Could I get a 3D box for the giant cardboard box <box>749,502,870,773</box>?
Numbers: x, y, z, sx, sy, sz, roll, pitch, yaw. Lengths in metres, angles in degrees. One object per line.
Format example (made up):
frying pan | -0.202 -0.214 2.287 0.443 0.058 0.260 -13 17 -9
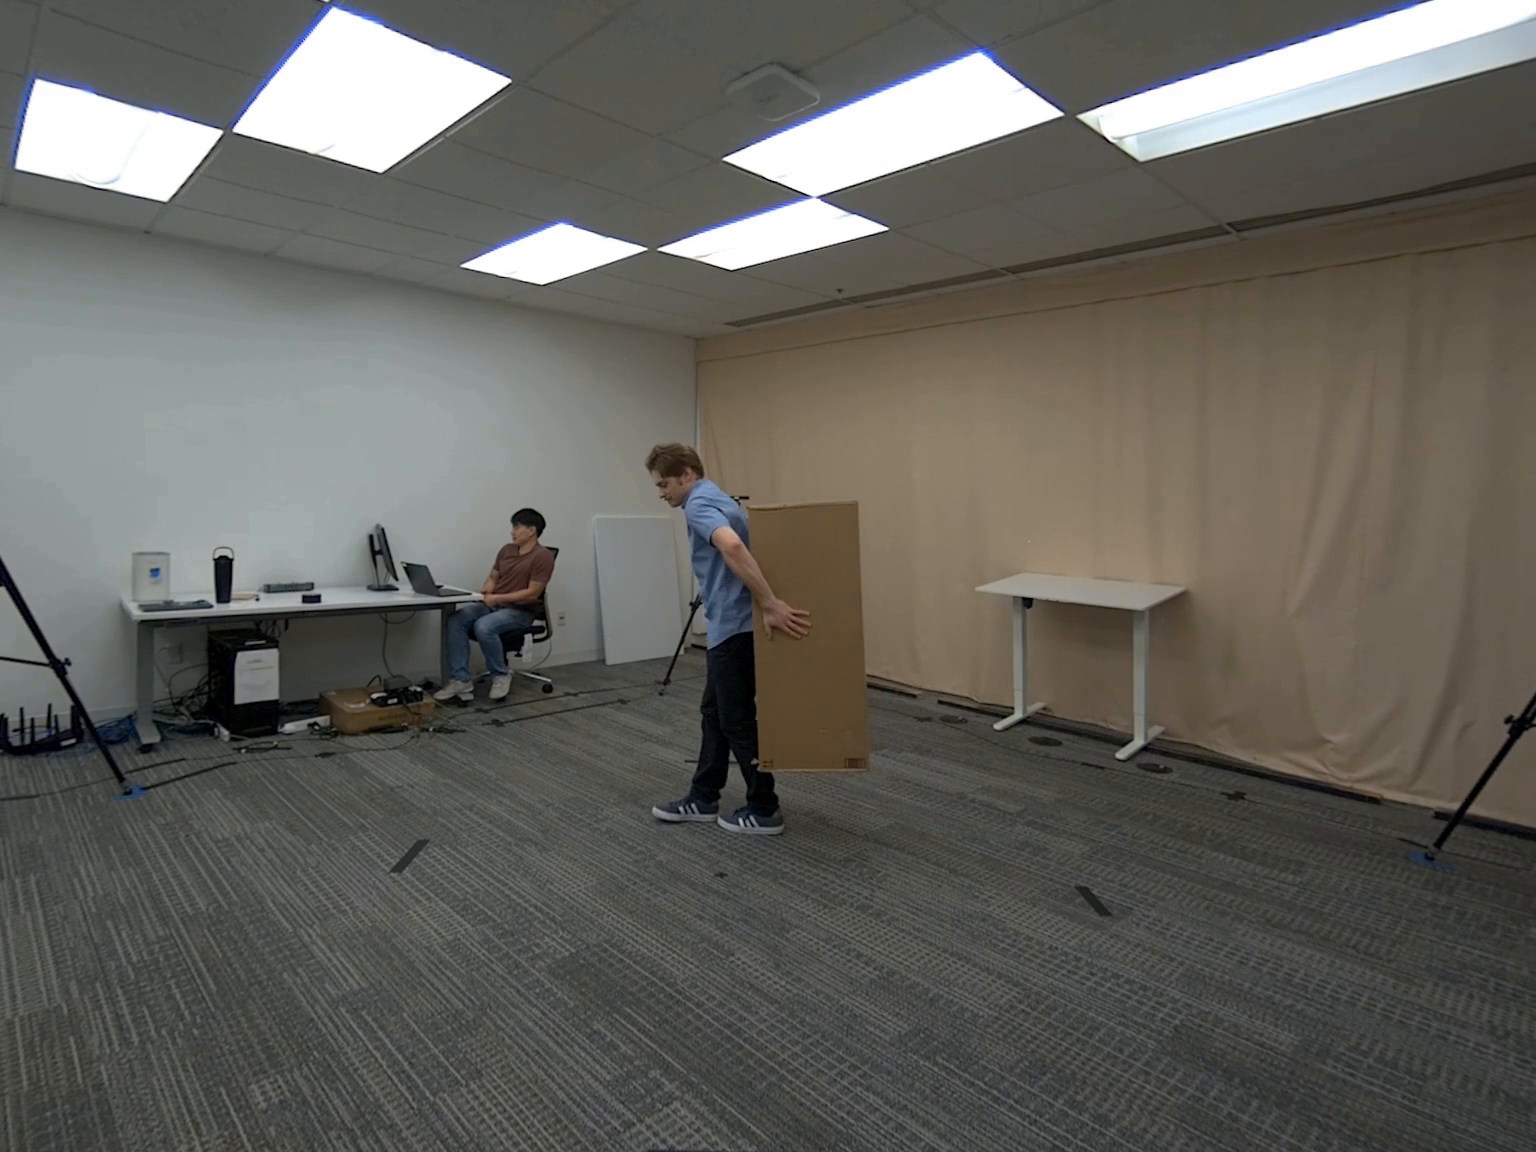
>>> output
giant cardboard box | 0.166 0.232 3.475 0.449 1.027 0.581 -1 0 5
